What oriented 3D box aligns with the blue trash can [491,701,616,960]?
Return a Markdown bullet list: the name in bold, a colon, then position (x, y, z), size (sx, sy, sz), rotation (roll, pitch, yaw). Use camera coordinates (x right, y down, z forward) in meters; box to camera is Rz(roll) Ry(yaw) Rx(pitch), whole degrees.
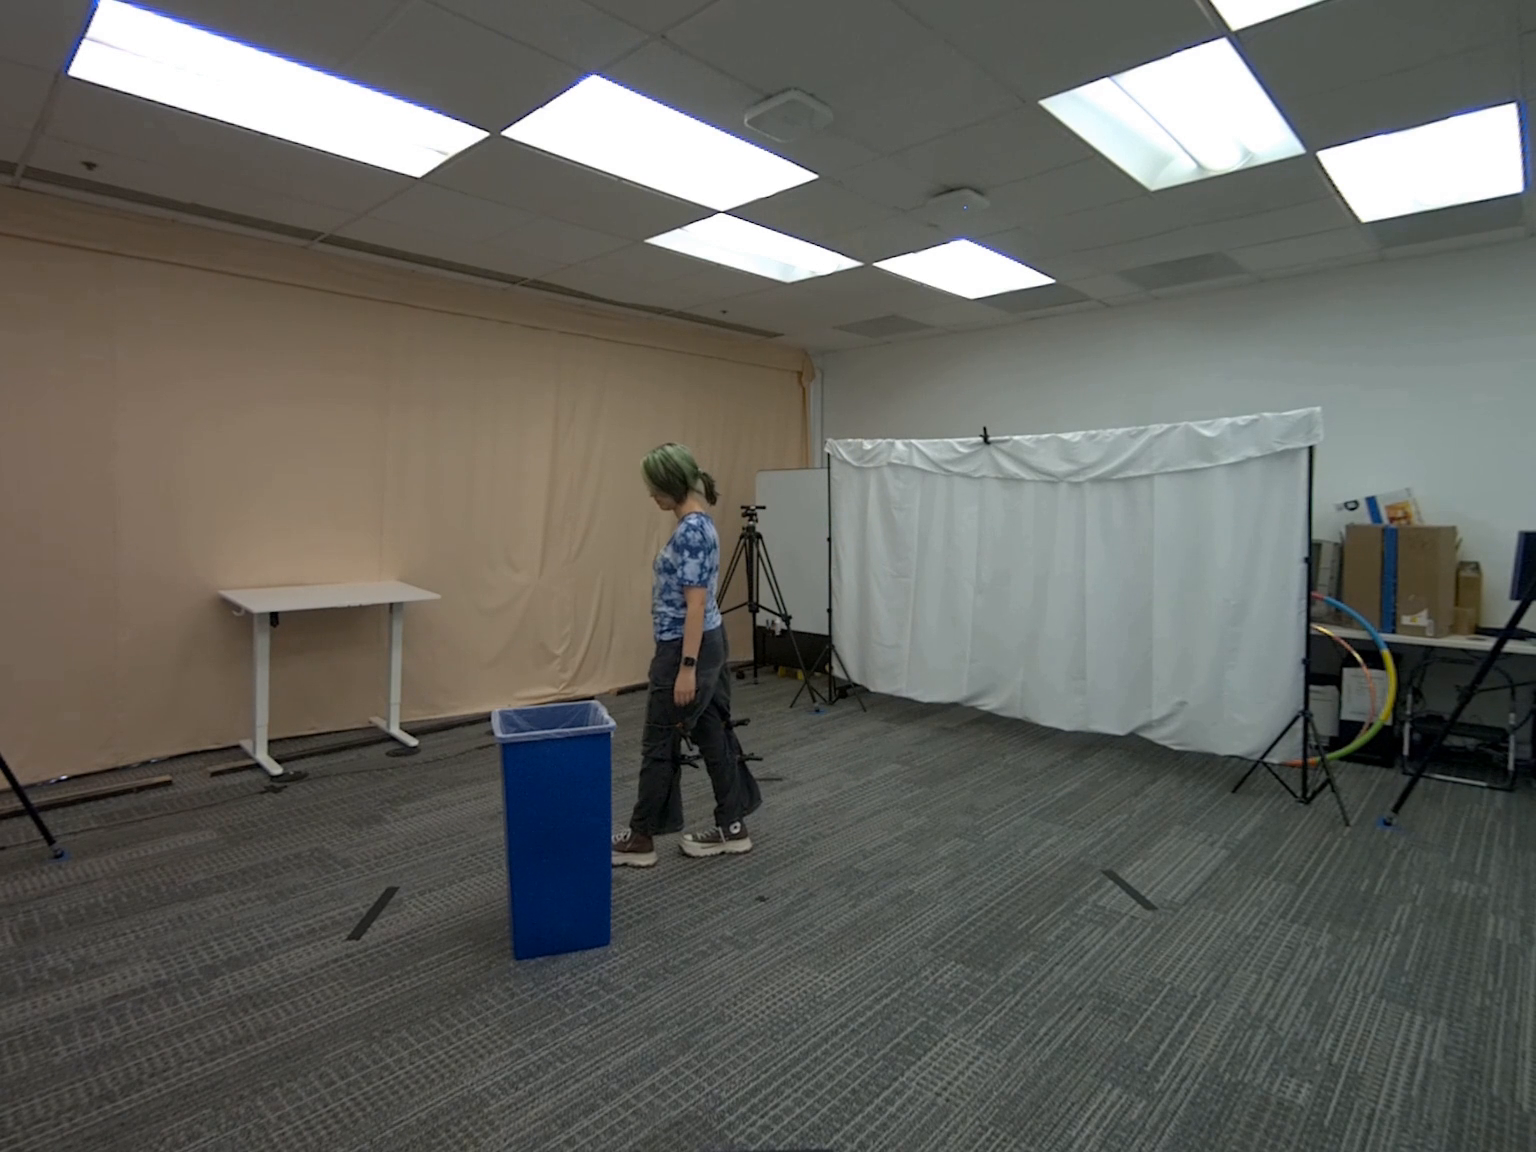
- **blue trash can**: position (-0.703, 0.815, 2.747), size (0.367, 0.712, 0.386), rotation (-2, 3, -19)
